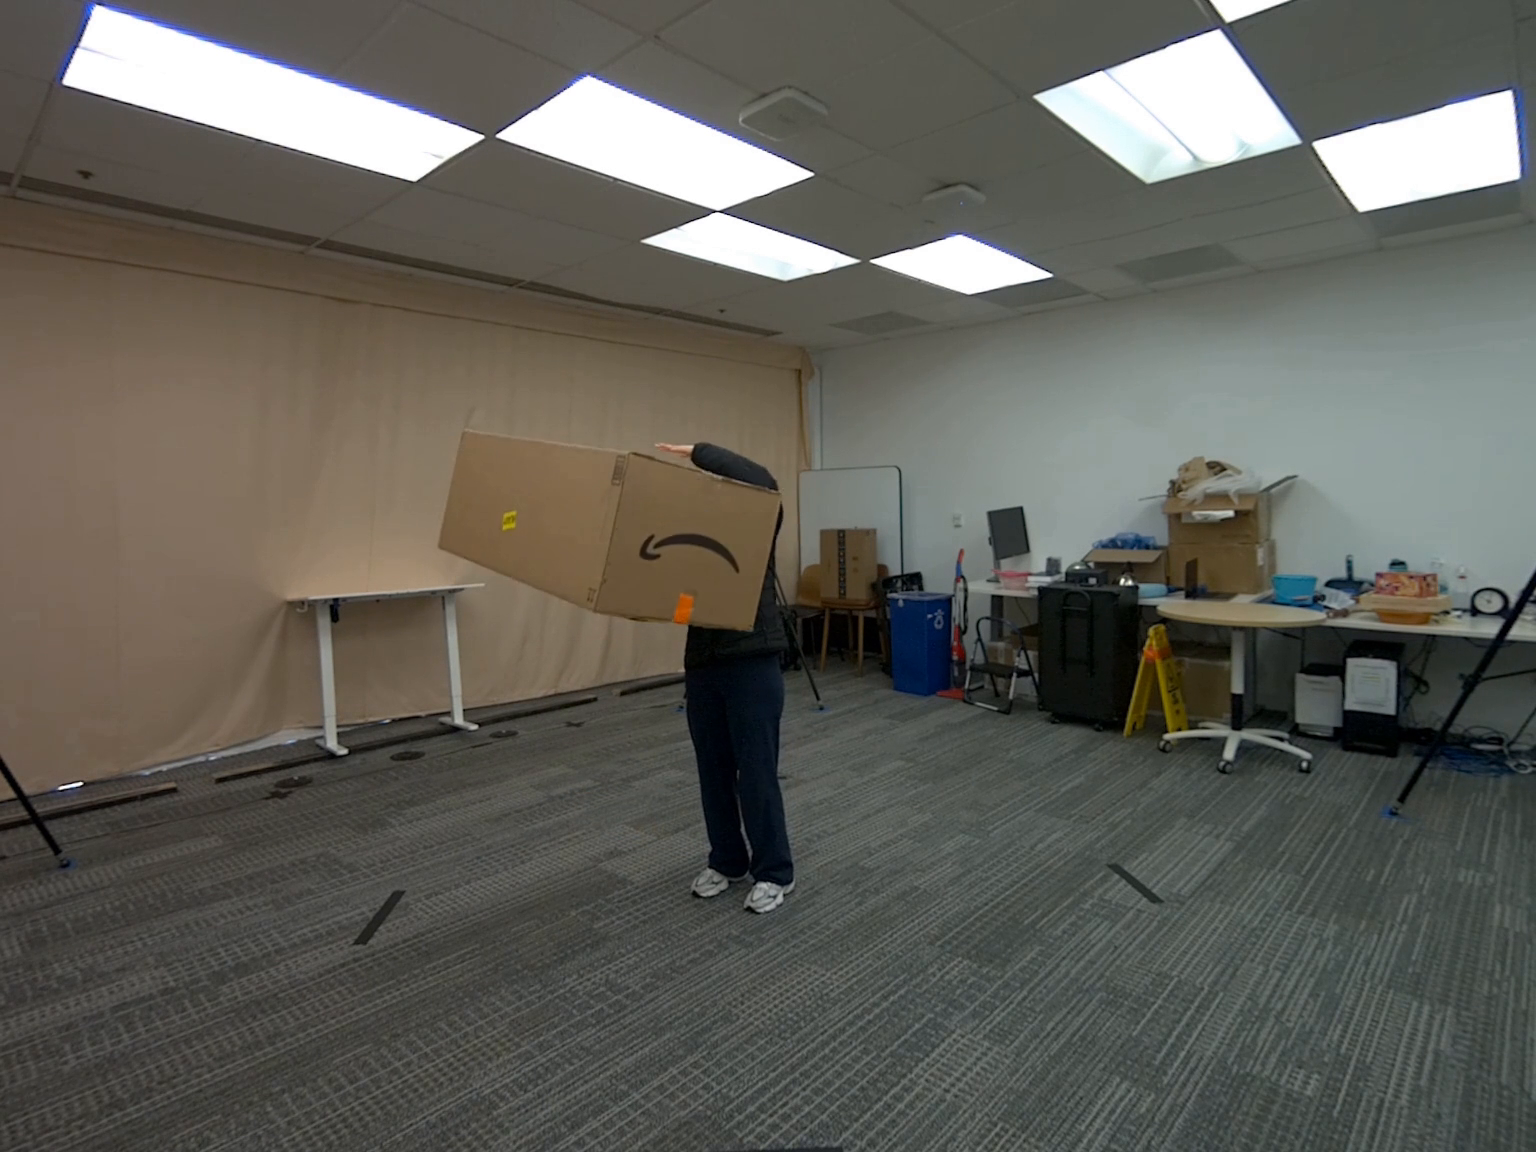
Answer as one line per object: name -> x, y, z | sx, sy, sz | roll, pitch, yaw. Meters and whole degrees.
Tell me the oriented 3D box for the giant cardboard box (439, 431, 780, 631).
giant cardboard box -> -0.533, -0.164, 2.712 | 0.557, 0.426, 1.063 | 11, 3, -43
